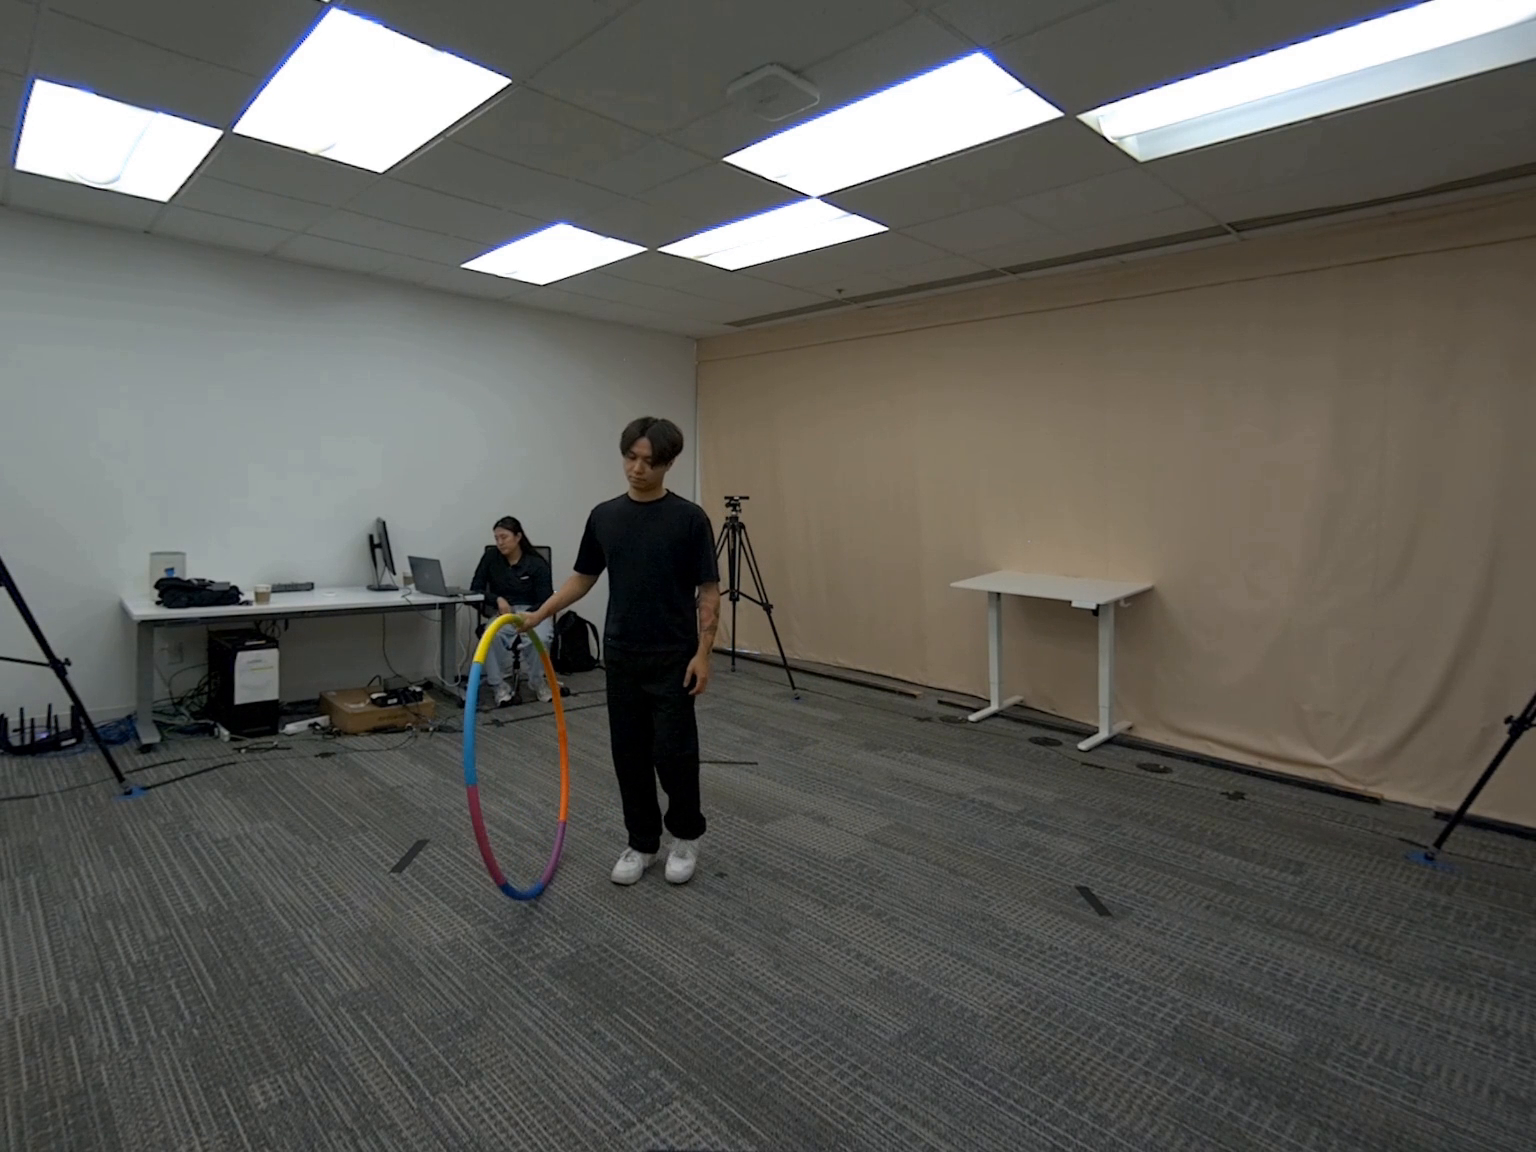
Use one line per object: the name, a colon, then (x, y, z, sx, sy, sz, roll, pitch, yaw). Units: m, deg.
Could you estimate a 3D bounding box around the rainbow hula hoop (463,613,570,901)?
rainbow hula hoop: (-0.867, 0.626, 2.960, 0.035, 0.976, 0.980, -9, 4, 1)
